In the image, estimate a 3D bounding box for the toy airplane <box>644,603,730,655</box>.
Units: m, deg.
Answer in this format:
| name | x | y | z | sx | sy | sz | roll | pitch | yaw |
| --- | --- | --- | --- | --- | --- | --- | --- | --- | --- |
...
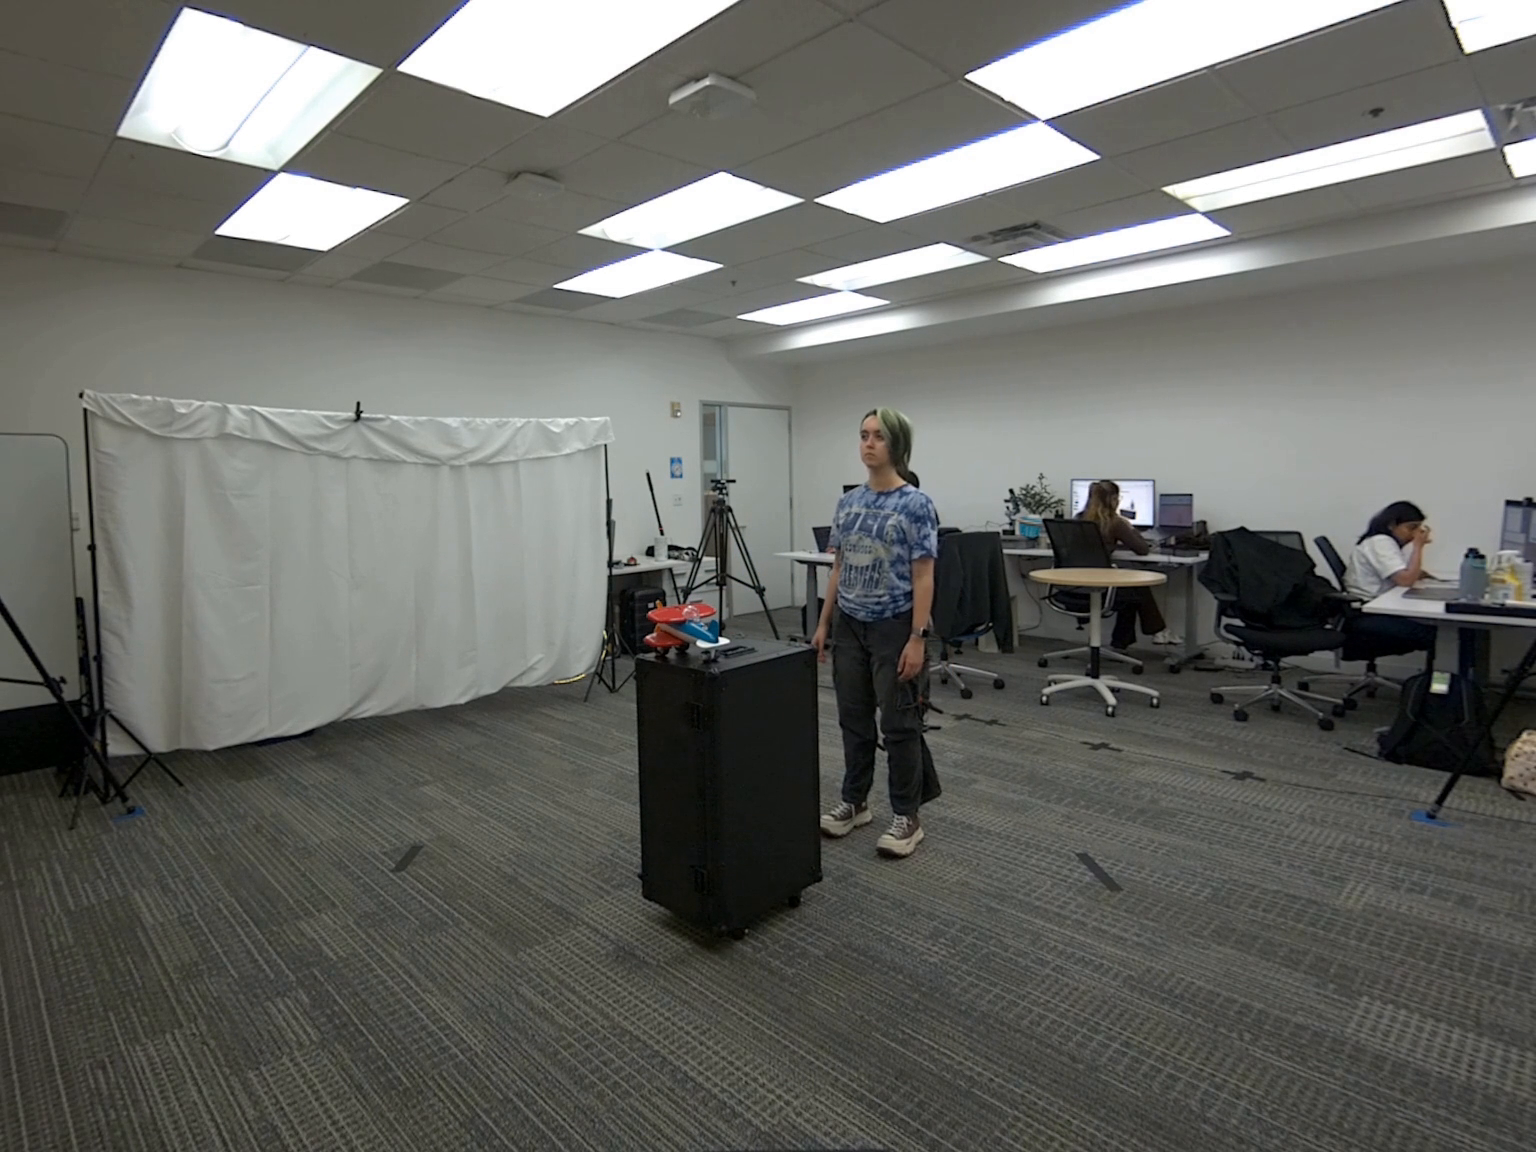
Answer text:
| name | x | y | z | sx | sy | sz | roll | pitch | yaw |
| --- | --- | --- | --- | --- | --- | --- | --- | --- | --- |
| toy airplane | -0.223 | 0.176 | 2.667 | 0.263 | 0.156 | 0.248 | 0 | 4 | 15 |
